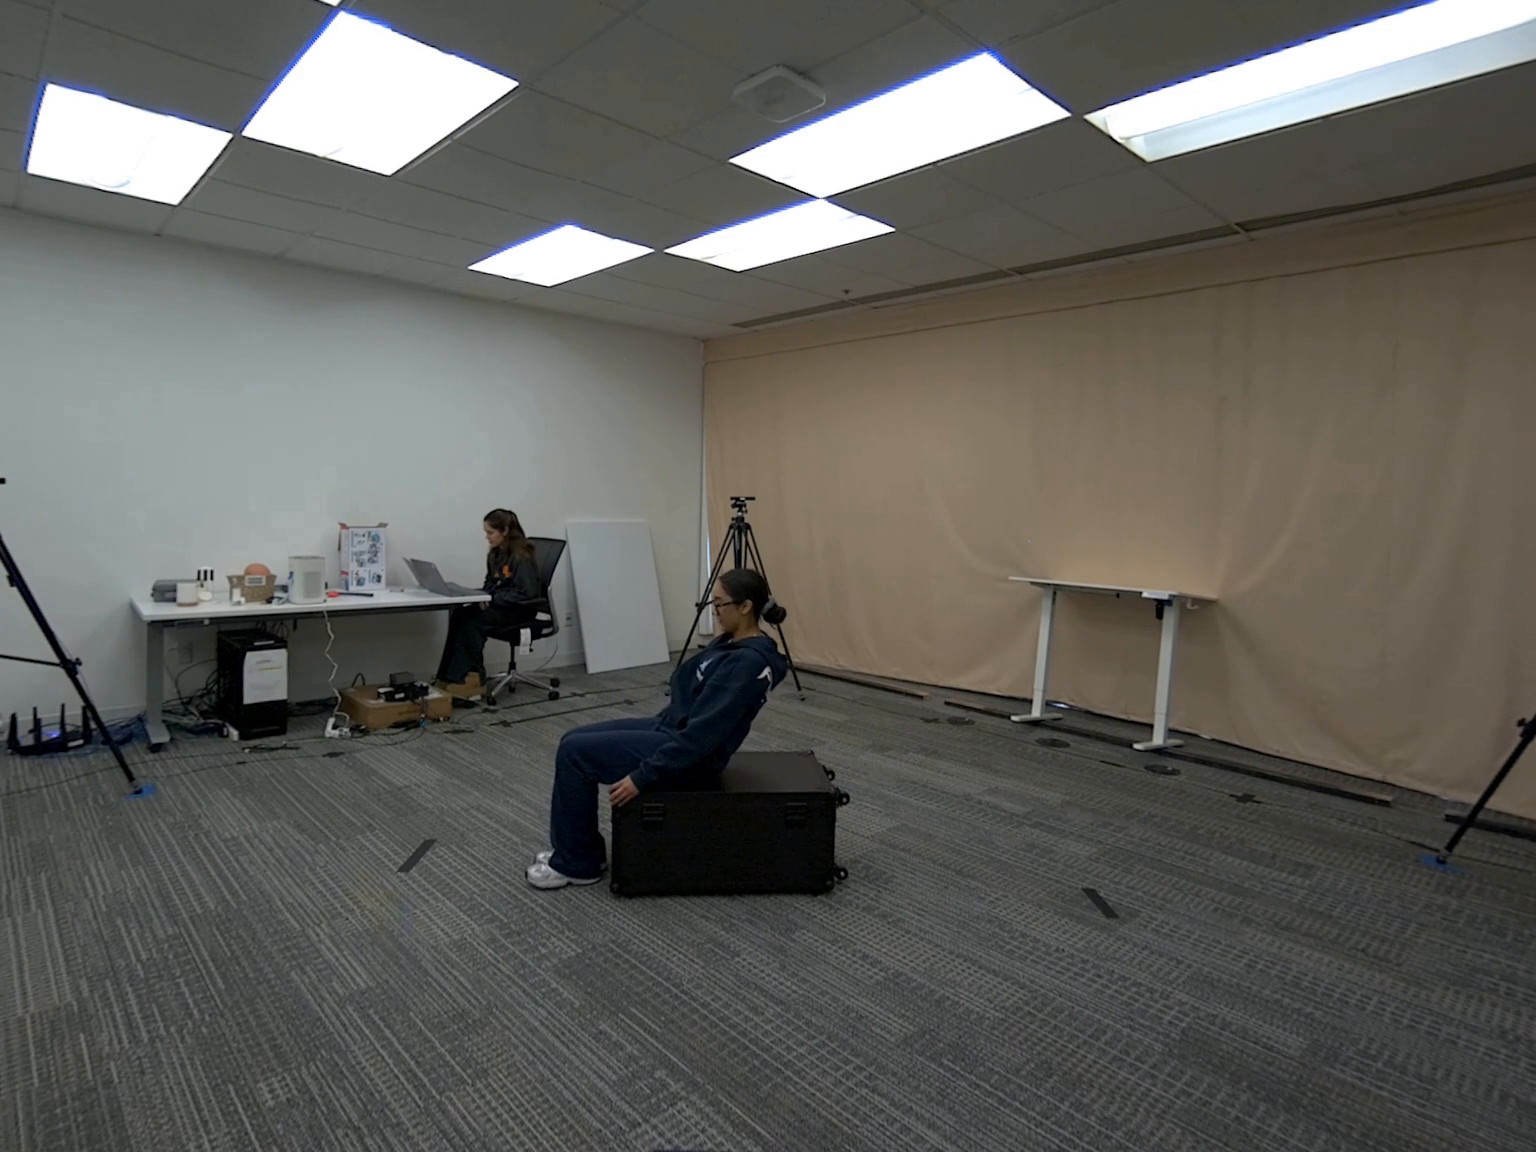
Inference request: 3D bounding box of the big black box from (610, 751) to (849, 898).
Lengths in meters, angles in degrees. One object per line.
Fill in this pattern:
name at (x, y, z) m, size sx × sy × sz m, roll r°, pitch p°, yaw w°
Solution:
big black box at (-0.146, 0.909, 3.158) m, size 0.857 × 0.395 × 0.525 m, roll 0°, pitch 4°, yaw -6°
